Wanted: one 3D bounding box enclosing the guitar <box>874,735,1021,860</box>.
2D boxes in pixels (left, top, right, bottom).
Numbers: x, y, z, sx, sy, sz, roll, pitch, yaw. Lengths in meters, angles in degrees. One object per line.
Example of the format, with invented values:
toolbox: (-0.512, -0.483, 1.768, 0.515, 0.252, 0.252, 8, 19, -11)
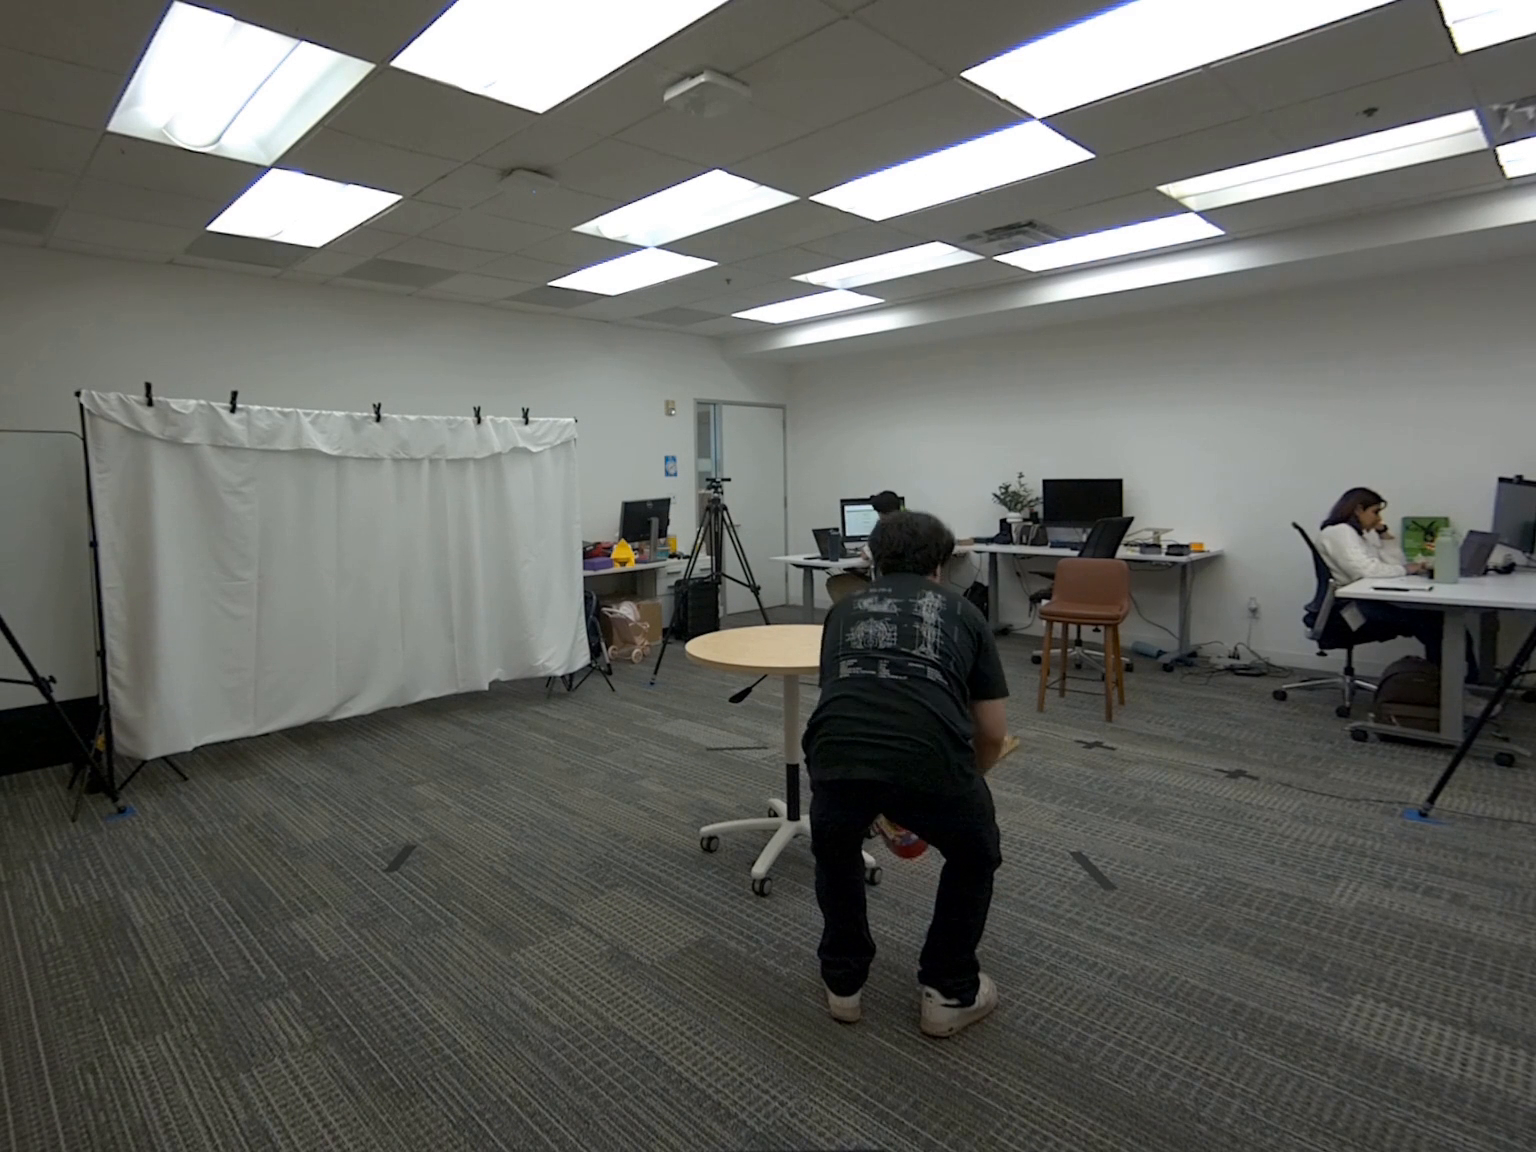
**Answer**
guitar: (0.559, 0.654, 2.496, 0.498, 0.068, 0.199, -28, 28, 0)
